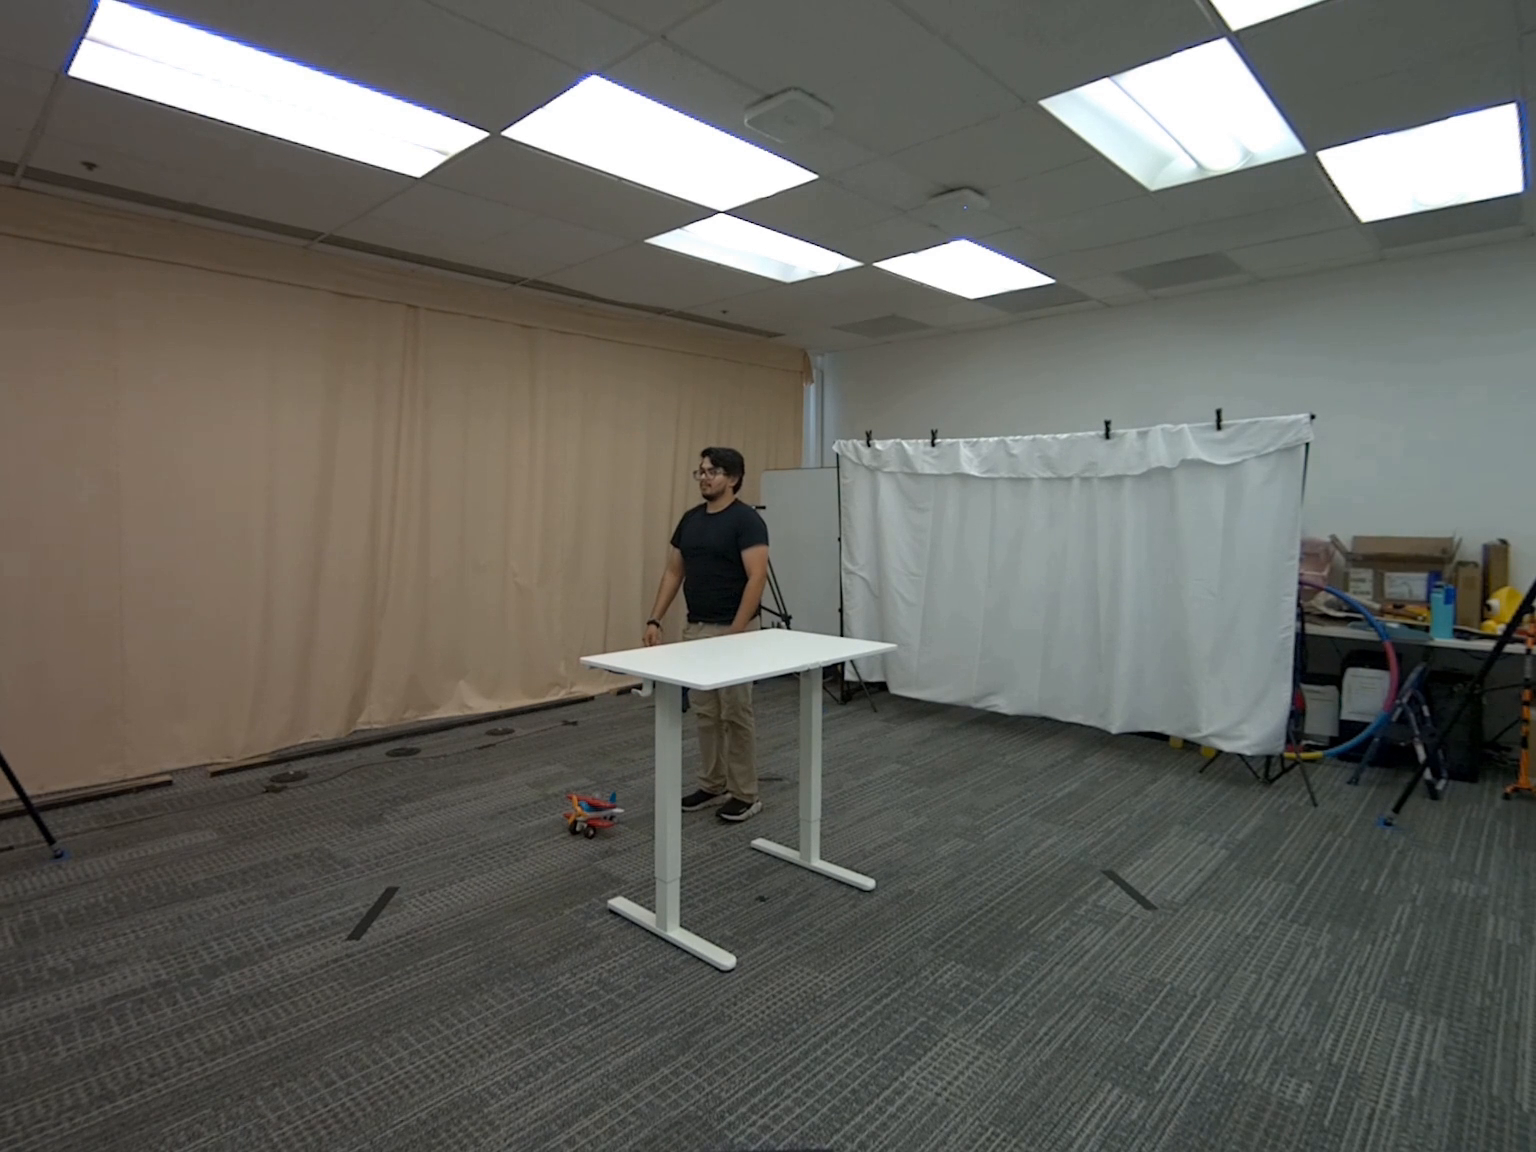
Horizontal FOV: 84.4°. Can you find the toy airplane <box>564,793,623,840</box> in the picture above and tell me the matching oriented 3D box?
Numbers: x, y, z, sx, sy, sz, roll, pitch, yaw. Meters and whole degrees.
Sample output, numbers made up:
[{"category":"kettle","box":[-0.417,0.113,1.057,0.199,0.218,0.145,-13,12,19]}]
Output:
[{"category":"toy airplane","box":[-0.763,1.019,3.646,0.252,0.156,0.259,-1,6,4]}]
